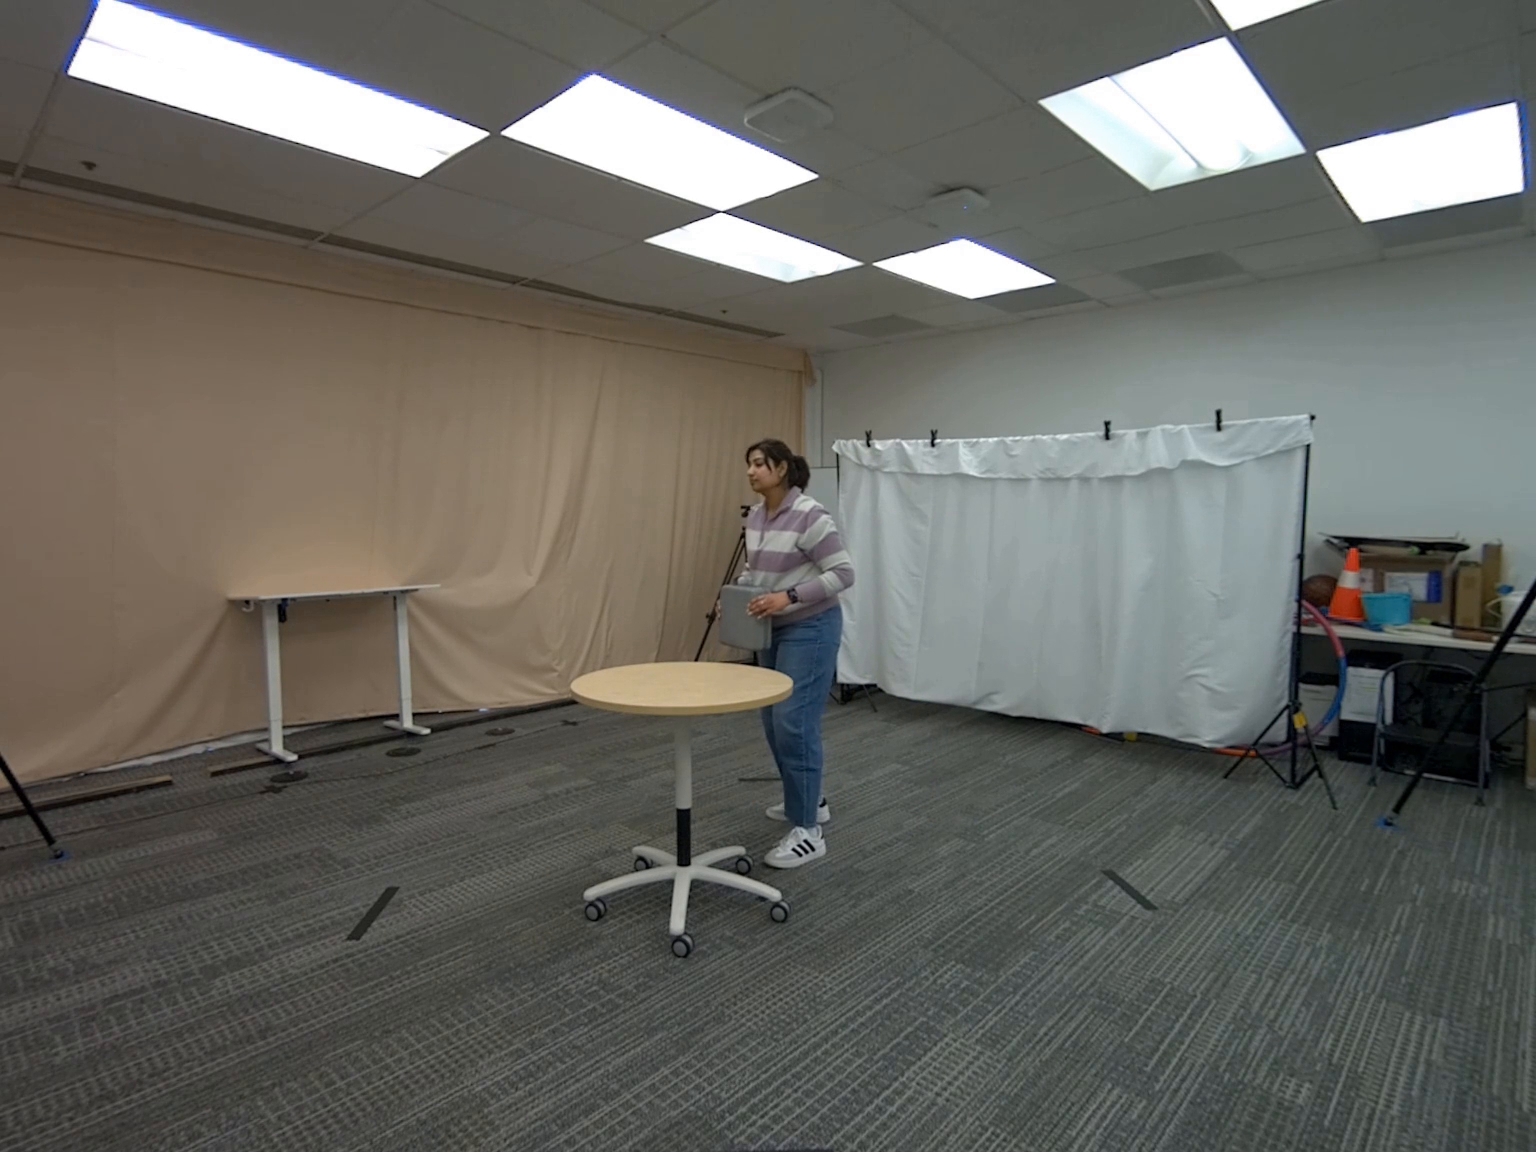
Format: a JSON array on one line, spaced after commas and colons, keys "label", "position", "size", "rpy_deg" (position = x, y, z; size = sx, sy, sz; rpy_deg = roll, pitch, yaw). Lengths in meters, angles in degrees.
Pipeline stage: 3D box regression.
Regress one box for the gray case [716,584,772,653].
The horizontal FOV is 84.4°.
[{"label": "gray case", "position": [-0.088, 0.167, 3.397], "size": [0.101, 0.260, 0.265], "rpy_deg": [1, 2, -38]}]
